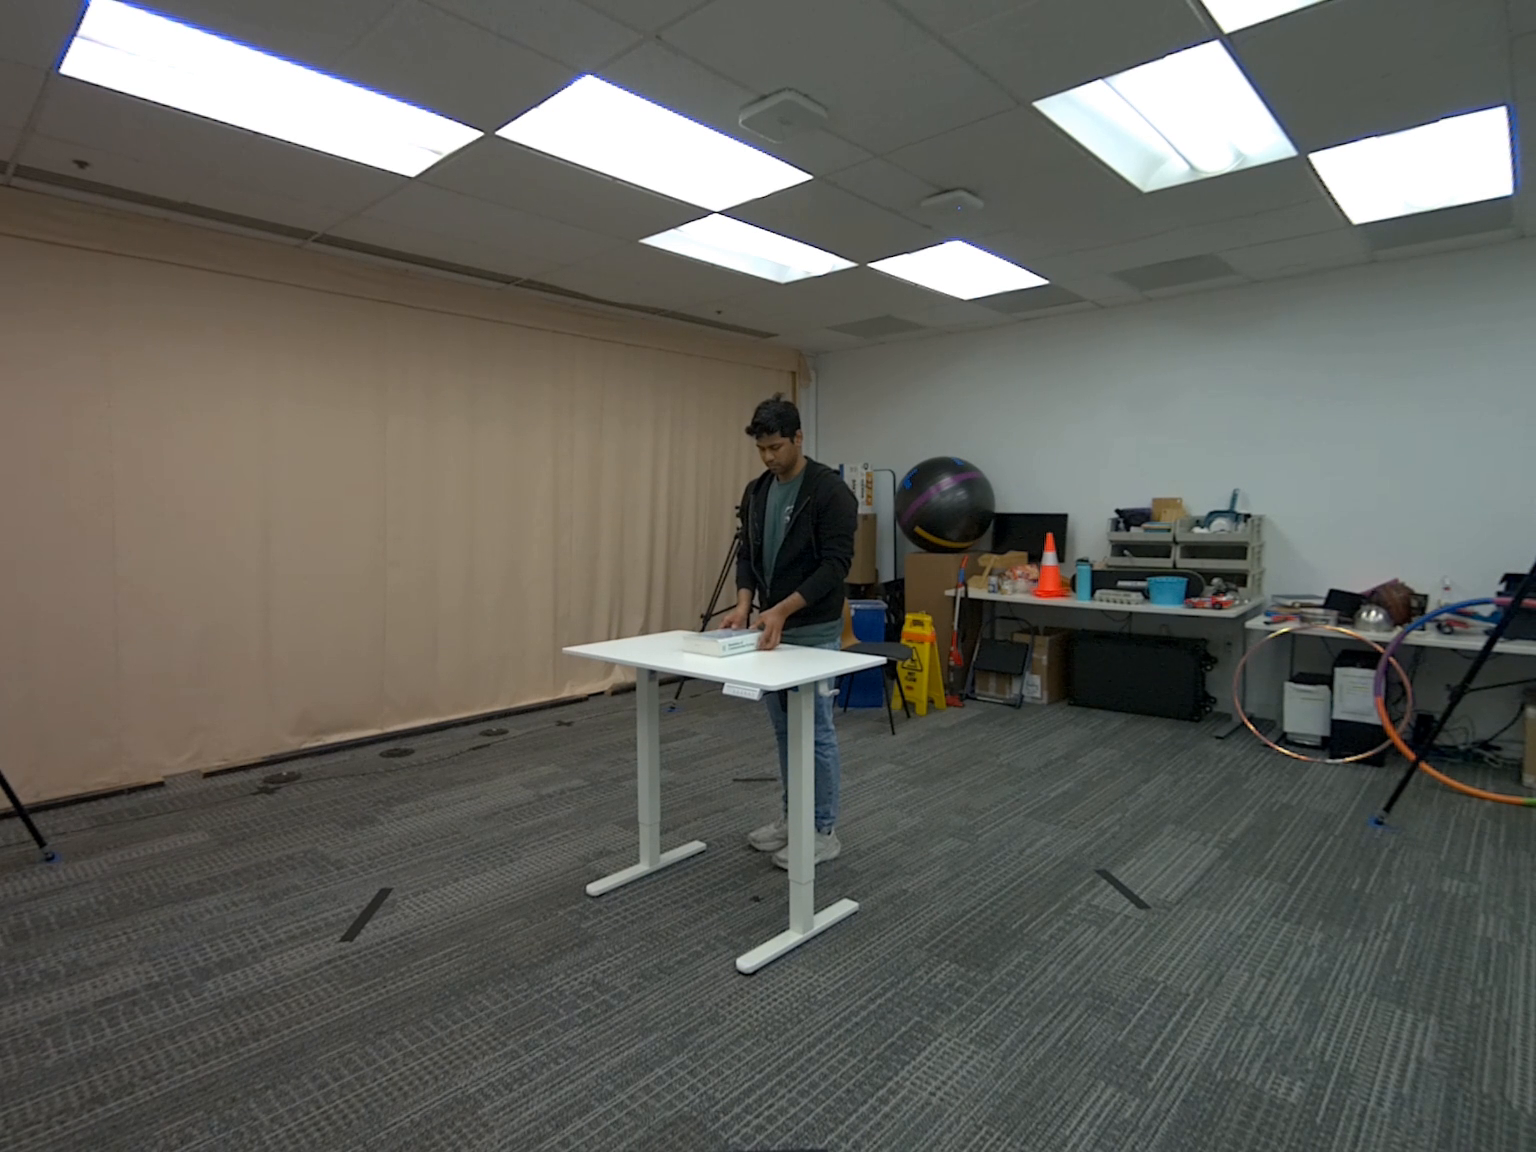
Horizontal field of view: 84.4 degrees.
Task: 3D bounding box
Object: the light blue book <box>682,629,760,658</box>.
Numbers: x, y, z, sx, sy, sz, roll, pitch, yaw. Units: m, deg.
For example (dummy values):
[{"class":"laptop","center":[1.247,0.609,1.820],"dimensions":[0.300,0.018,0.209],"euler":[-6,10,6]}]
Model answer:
[{"class":"light blue book","center":[-0.163,0.237,2.989],"dimensions":[0.197,0.059,0.253],"euler":[3,5,38]}]
